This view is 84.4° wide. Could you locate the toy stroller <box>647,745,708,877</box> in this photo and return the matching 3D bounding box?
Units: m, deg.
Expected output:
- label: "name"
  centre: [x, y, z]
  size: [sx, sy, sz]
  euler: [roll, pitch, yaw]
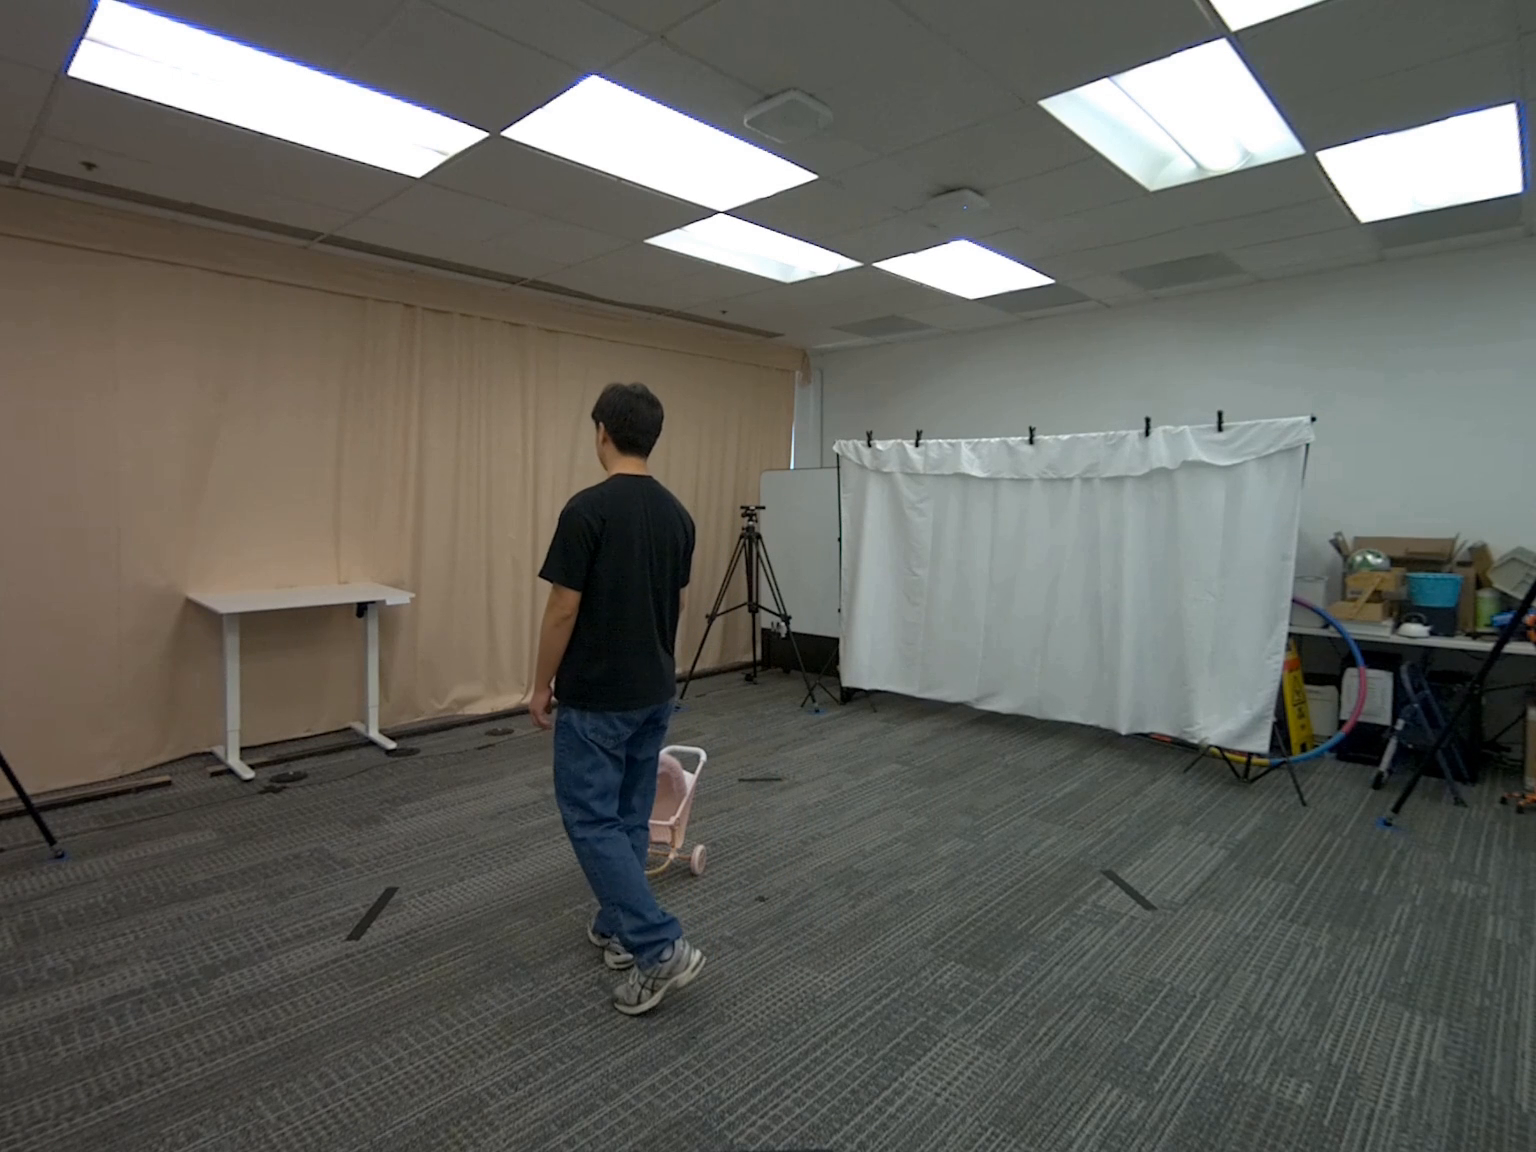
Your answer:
- label: "toy stroller"
  centre: [-0.405, 0.904, 3.163]
  size: [0.289, 0.538, 0.330]
  euler: [0, -13, 26]
